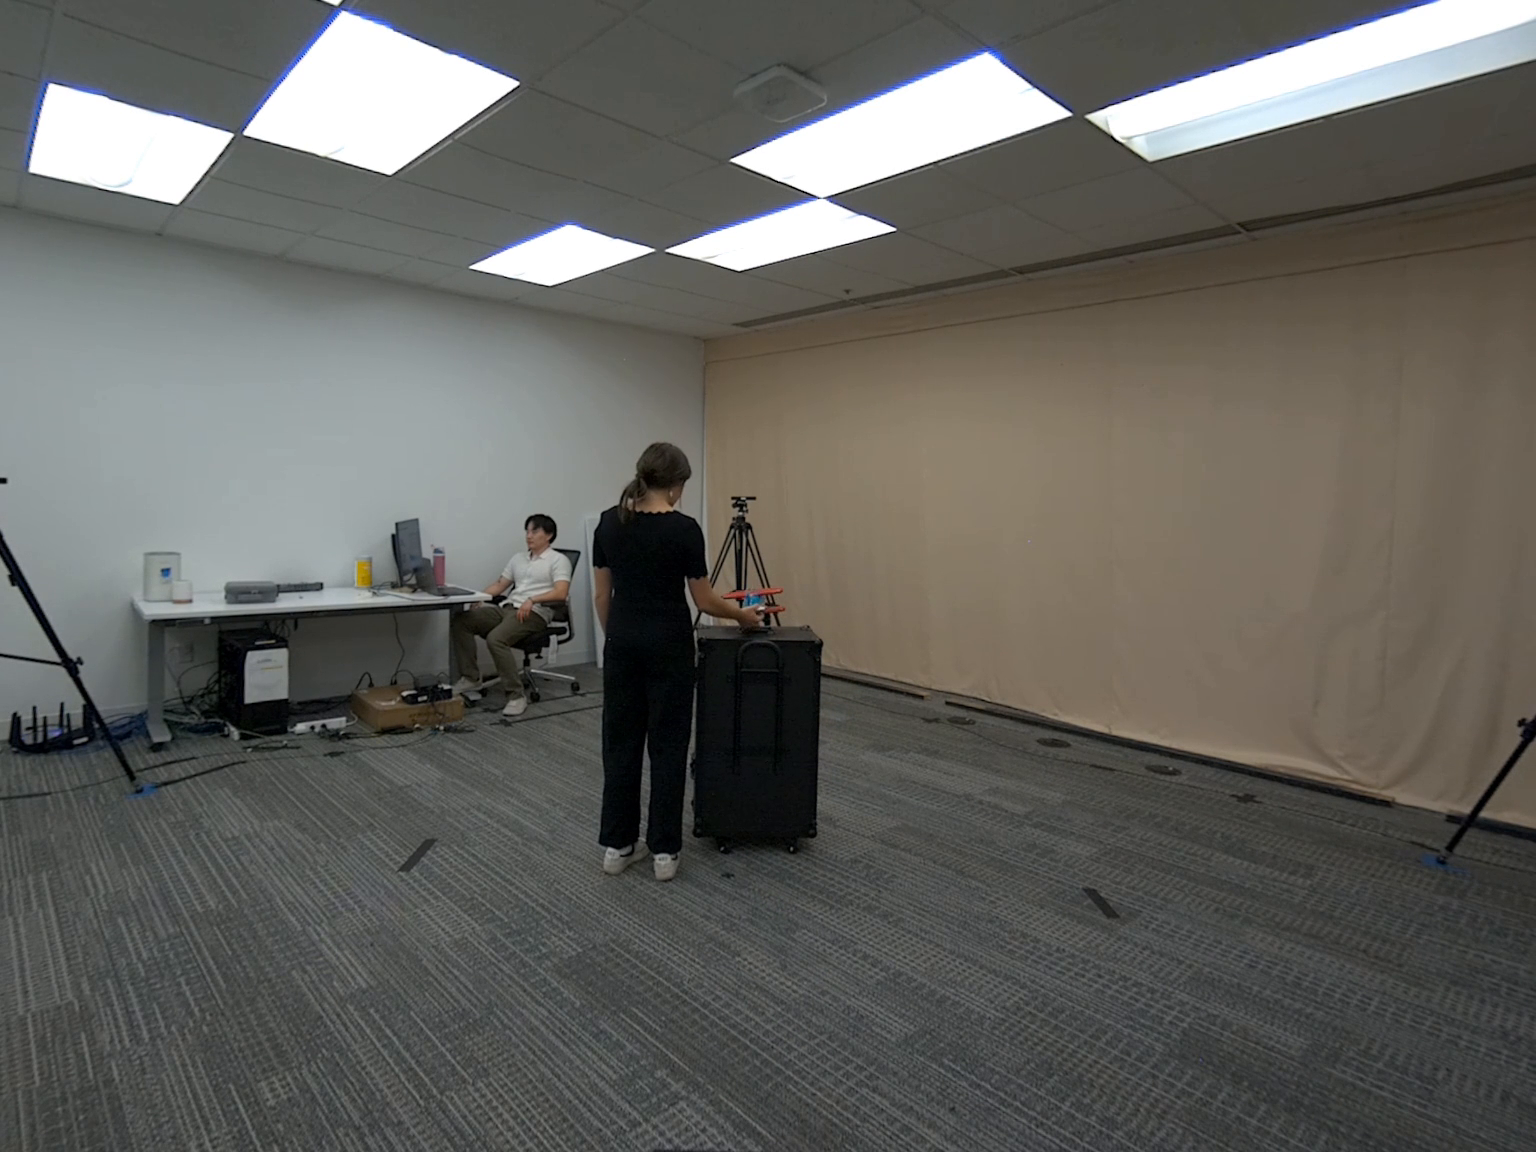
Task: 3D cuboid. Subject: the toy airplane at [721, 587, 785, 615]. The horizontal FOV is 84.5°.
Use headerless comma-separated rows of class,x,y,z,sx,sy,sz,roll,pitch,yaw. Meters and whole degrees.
toy airplane,-0.054,0.122,3.456,0.247,0.157,0.261,-1,-9,-21
